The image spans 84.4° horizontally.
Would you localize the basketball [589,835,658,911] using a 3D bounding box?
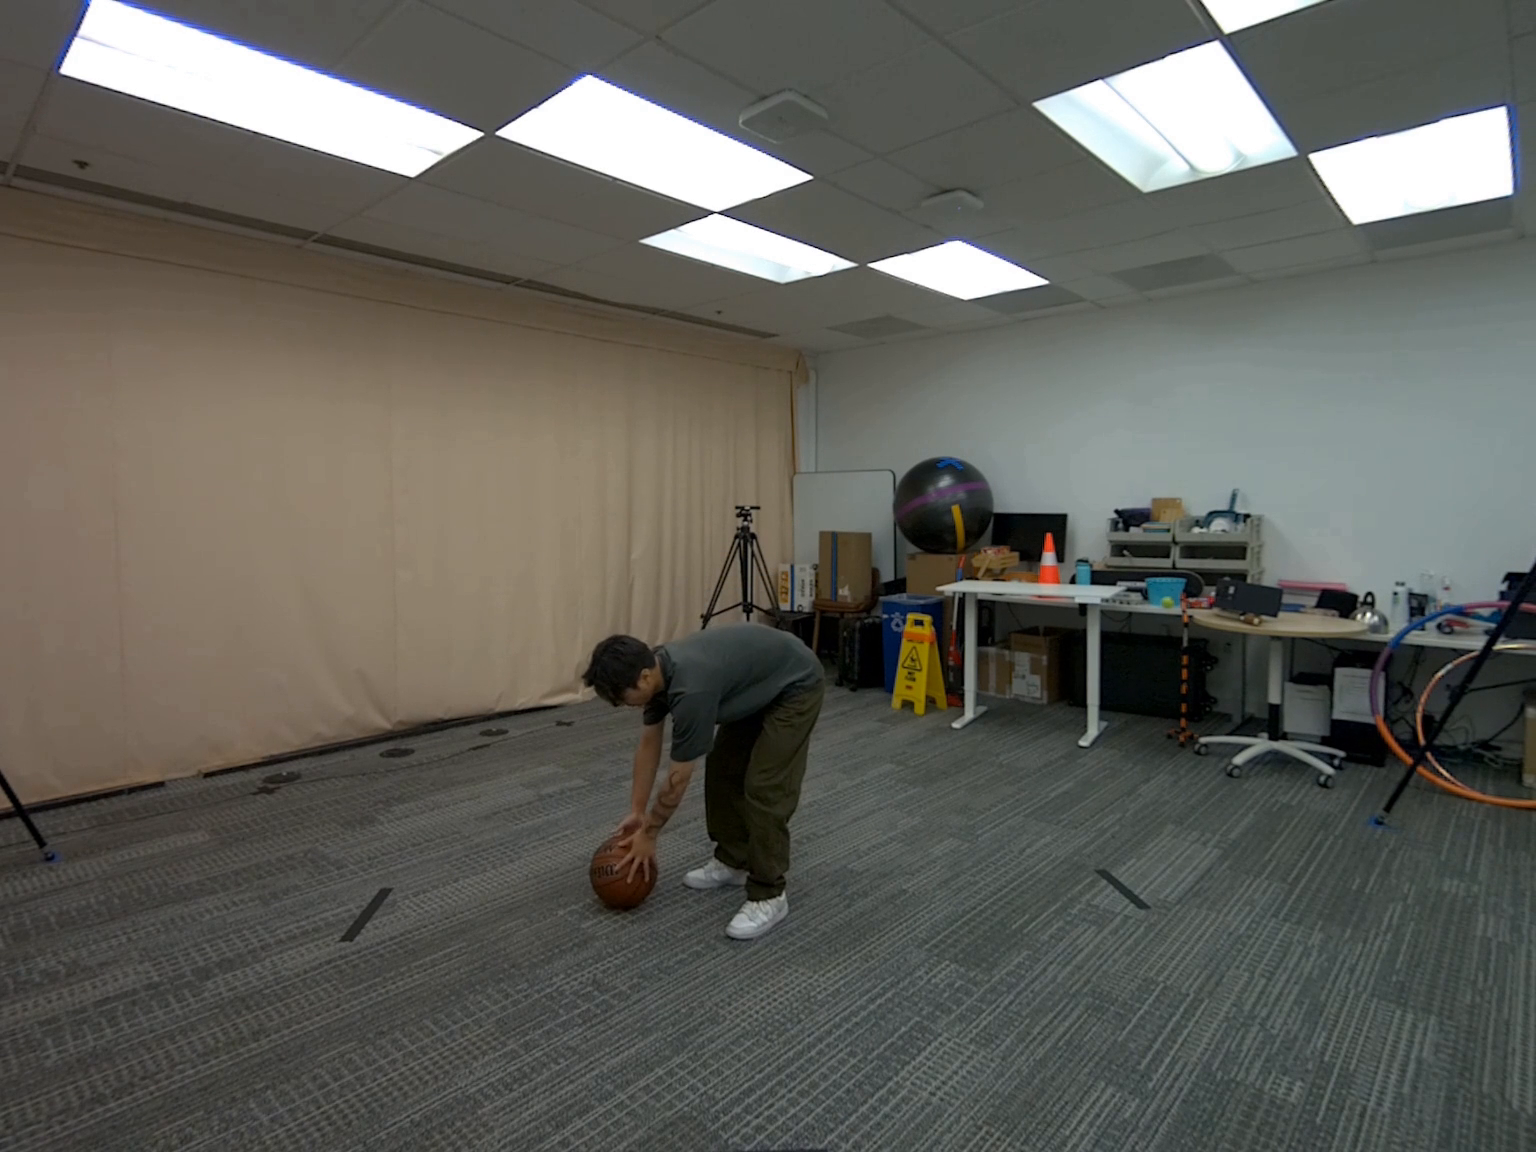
[{"bbox_3d":[-0.511,1.037,2.956,0.236,0.235,0.237,0,4,-2],"label":"basketball"}]
